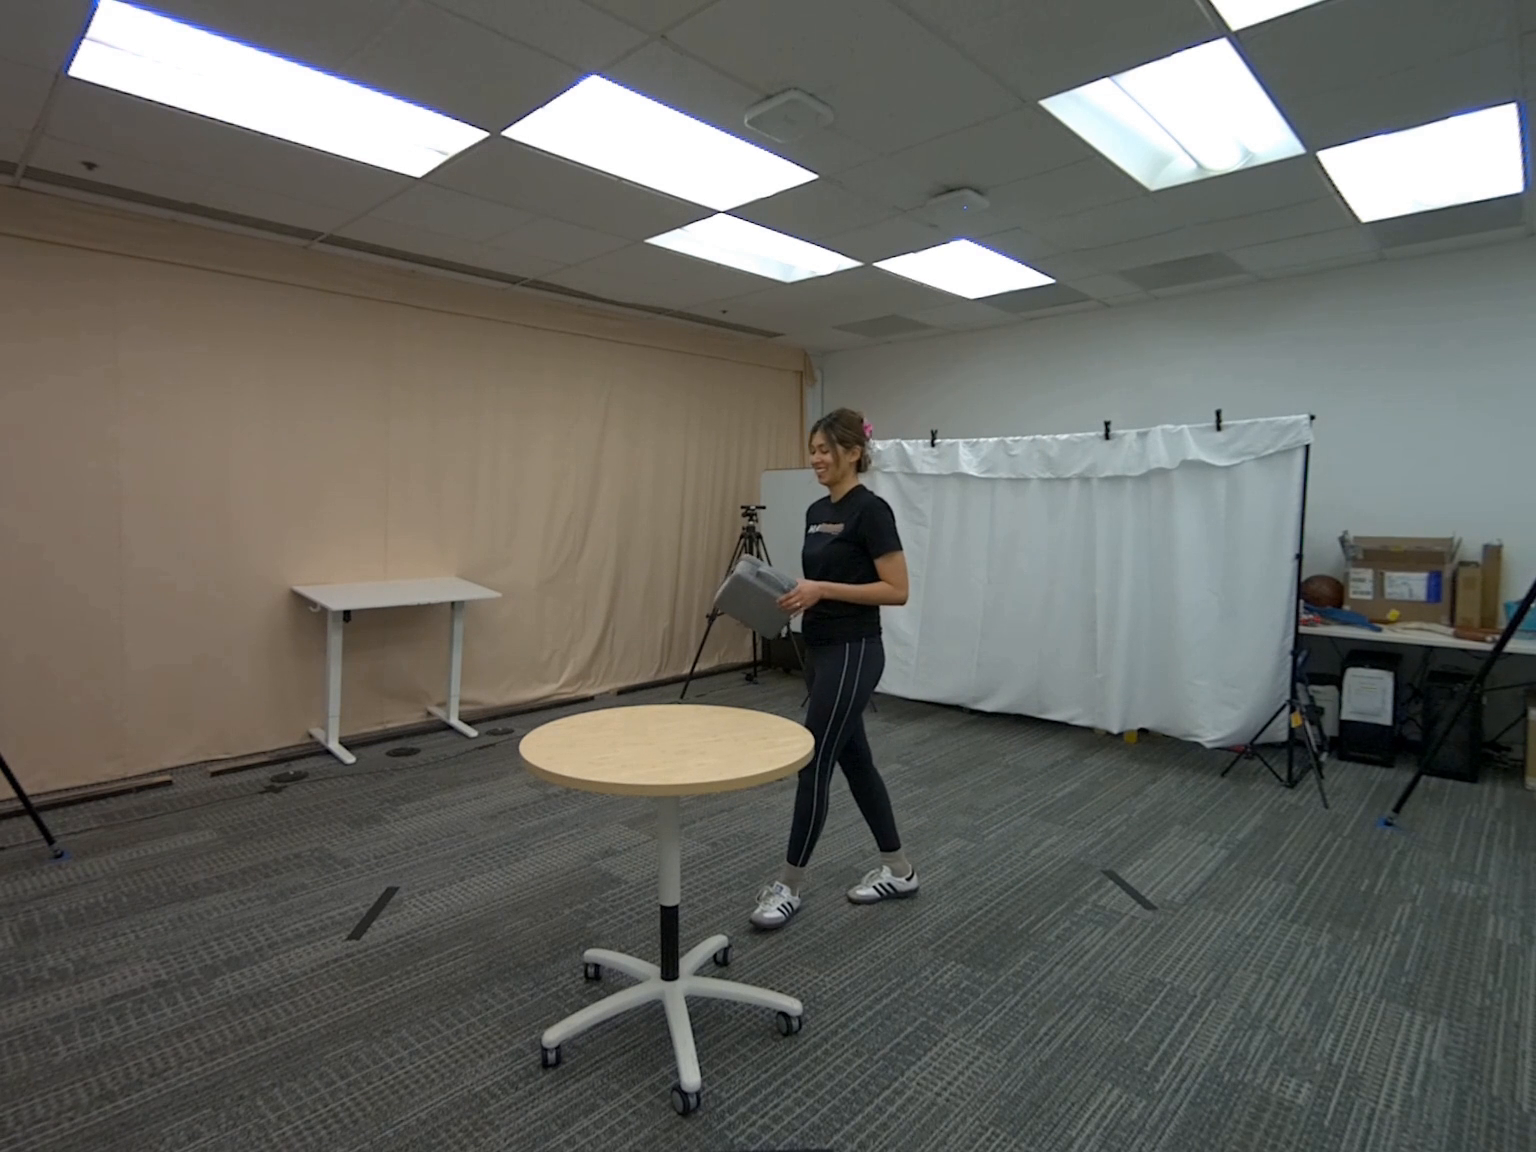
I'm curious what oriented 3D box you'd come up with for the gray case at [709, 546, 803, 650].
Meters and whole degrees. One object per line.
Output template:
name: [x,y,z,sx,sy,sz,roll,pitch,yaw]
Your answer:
gray case: [-0.022,0.076,2.783,0.257,0.104,0.261,33,-39,1]
